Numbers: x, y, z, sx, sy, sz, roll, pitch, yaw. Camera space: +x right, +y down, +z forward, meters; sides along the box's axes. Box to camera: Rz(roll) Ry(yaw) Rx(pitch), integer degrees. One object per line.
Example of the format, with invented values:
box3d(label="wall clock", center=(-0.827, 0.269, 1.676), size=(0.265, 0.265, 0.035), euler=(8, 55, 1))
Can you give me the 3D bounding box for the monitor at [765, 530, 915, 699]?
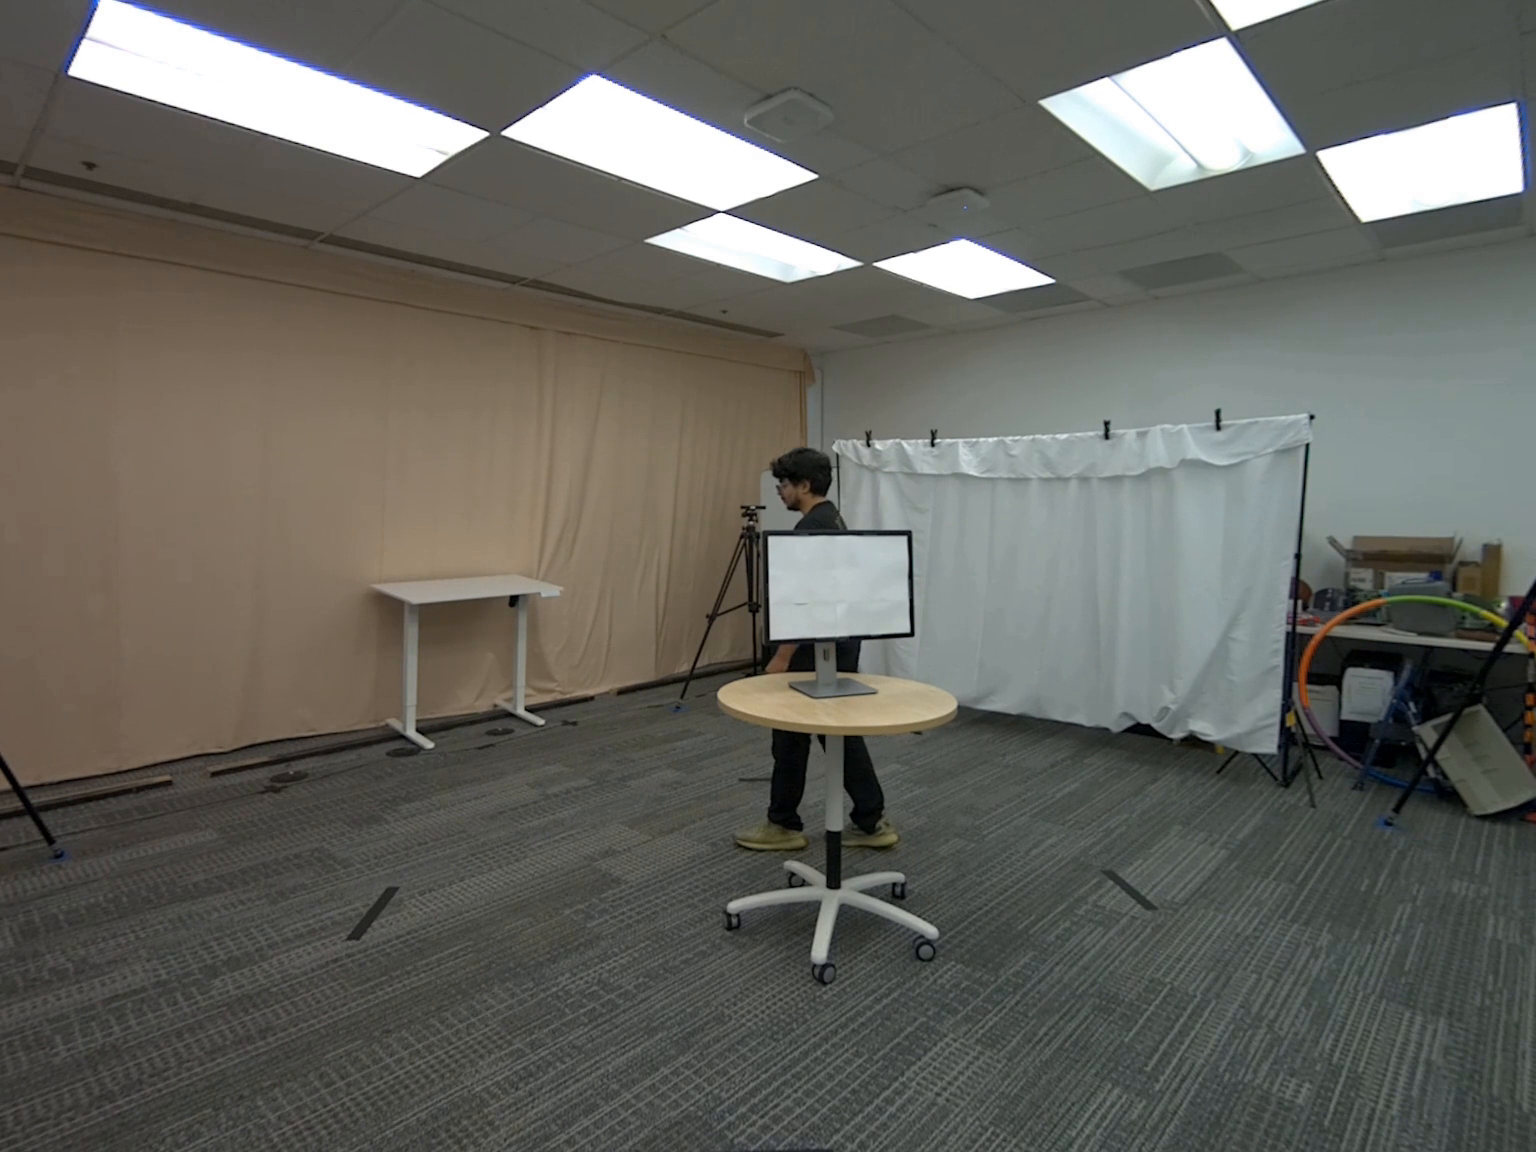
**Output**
box3d(label="monitor", center=(0.210, 0.117, 2.821), size=(0.553, 0.553, 0.215), euler=(-1, 1, -22))
